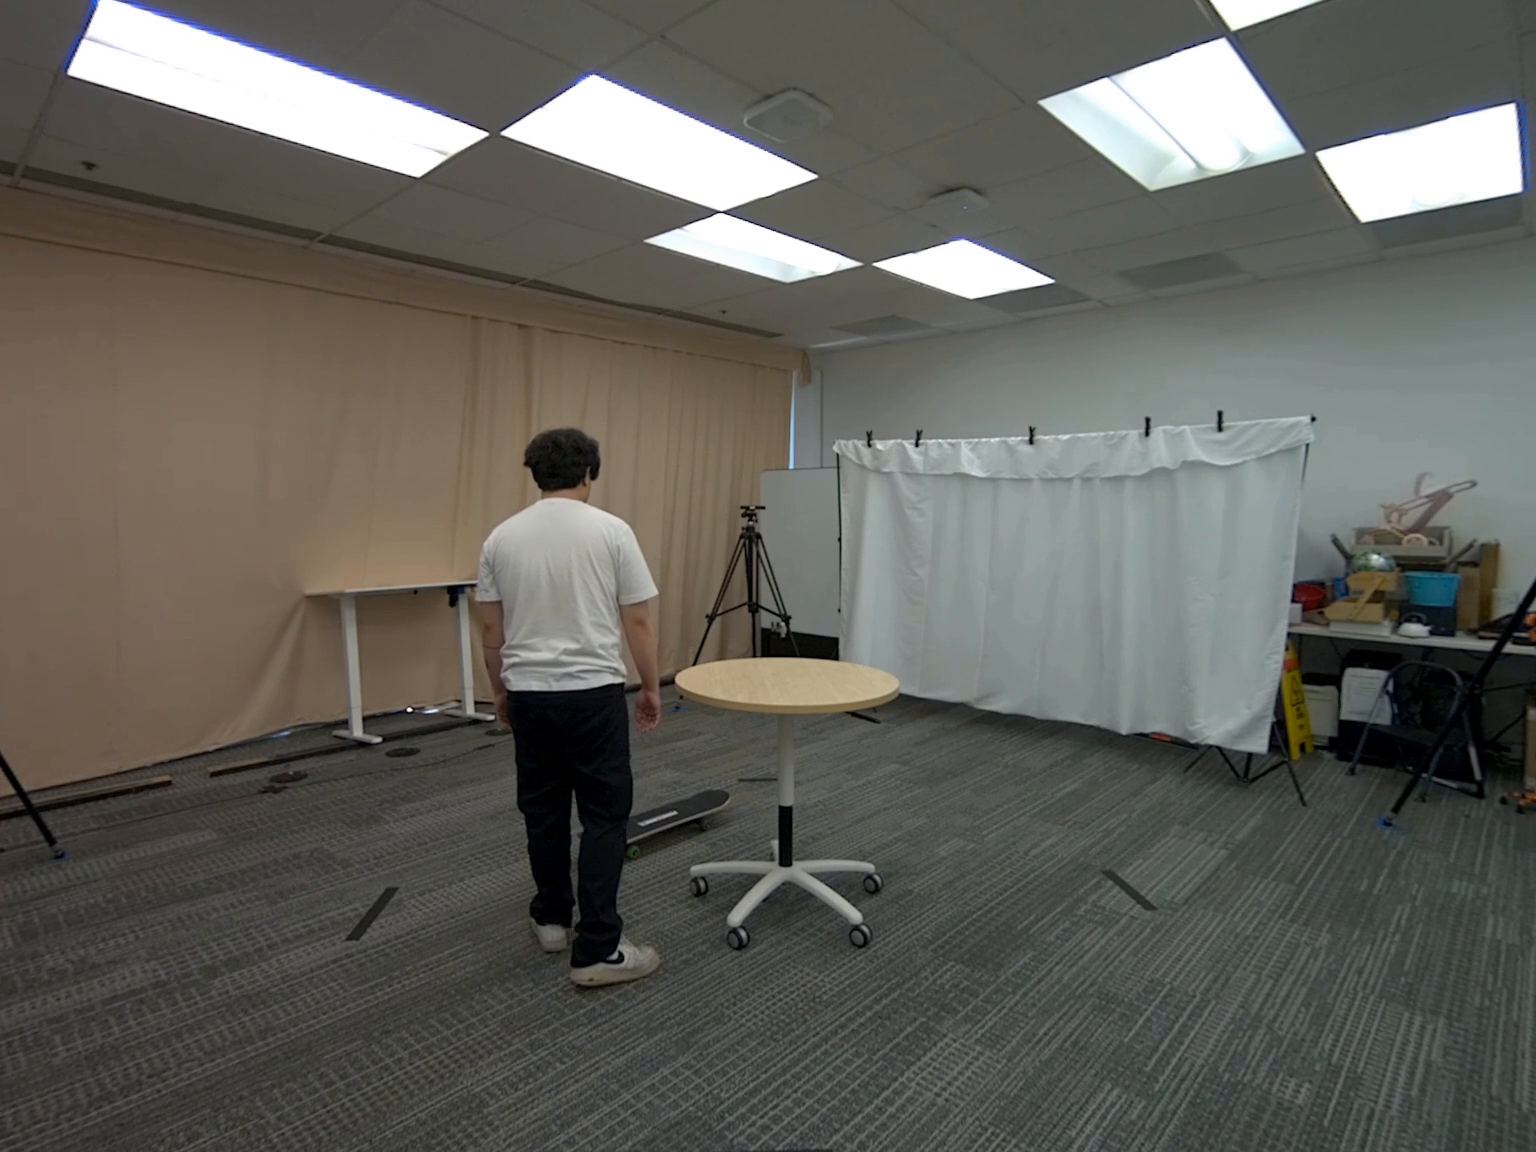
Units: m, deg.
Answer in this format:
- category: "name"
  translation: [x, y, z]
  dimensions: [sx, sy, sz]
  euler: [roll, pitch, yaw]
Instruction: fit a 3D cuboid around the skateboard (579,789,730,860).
- category: "skateboard"
  translation: [-0.474, 1.053, 3.530]
  dimensions: [0.200, 0.110, 0.761]
  euler: [3, 6, 44]
